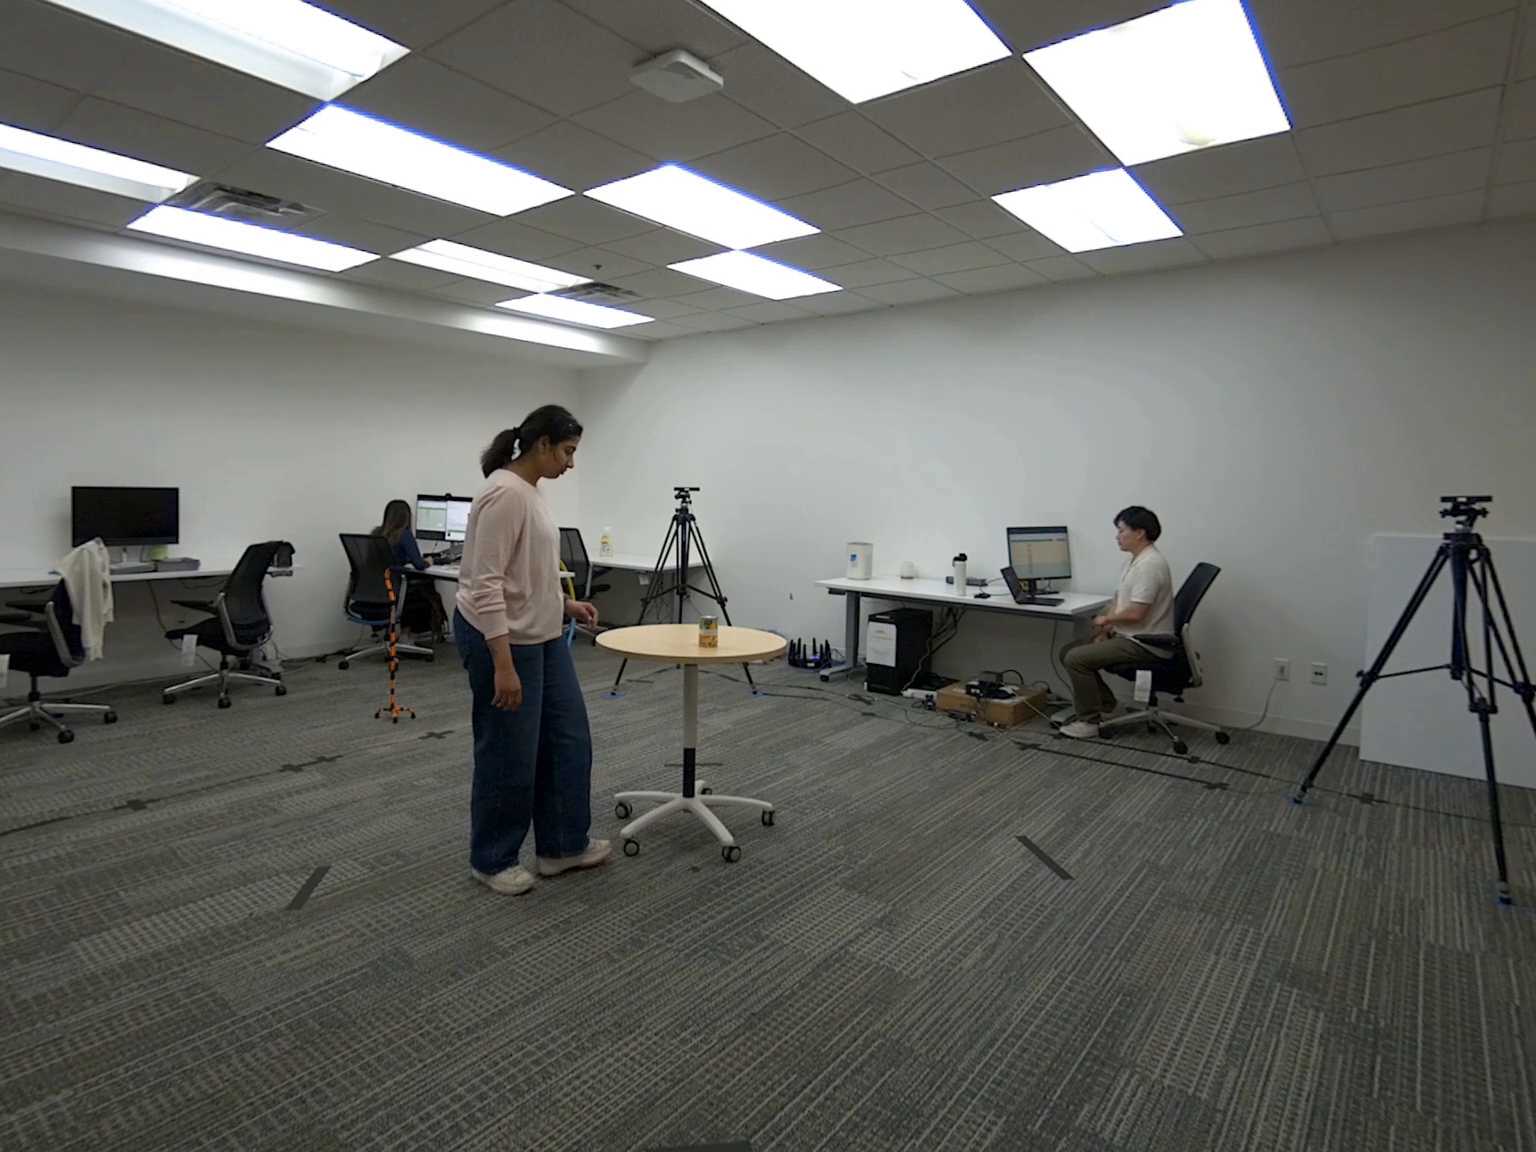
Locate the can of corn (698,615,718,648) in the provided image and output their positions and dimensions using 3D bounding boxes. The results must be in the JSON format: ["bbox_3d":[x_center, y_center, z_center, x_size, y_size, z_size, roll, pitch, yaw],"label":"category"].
[{"bbox_3d":[-0.239,0.213,3.271,0.074,0.111,0.074,1,2,-2],"label":"can of corn"}]
